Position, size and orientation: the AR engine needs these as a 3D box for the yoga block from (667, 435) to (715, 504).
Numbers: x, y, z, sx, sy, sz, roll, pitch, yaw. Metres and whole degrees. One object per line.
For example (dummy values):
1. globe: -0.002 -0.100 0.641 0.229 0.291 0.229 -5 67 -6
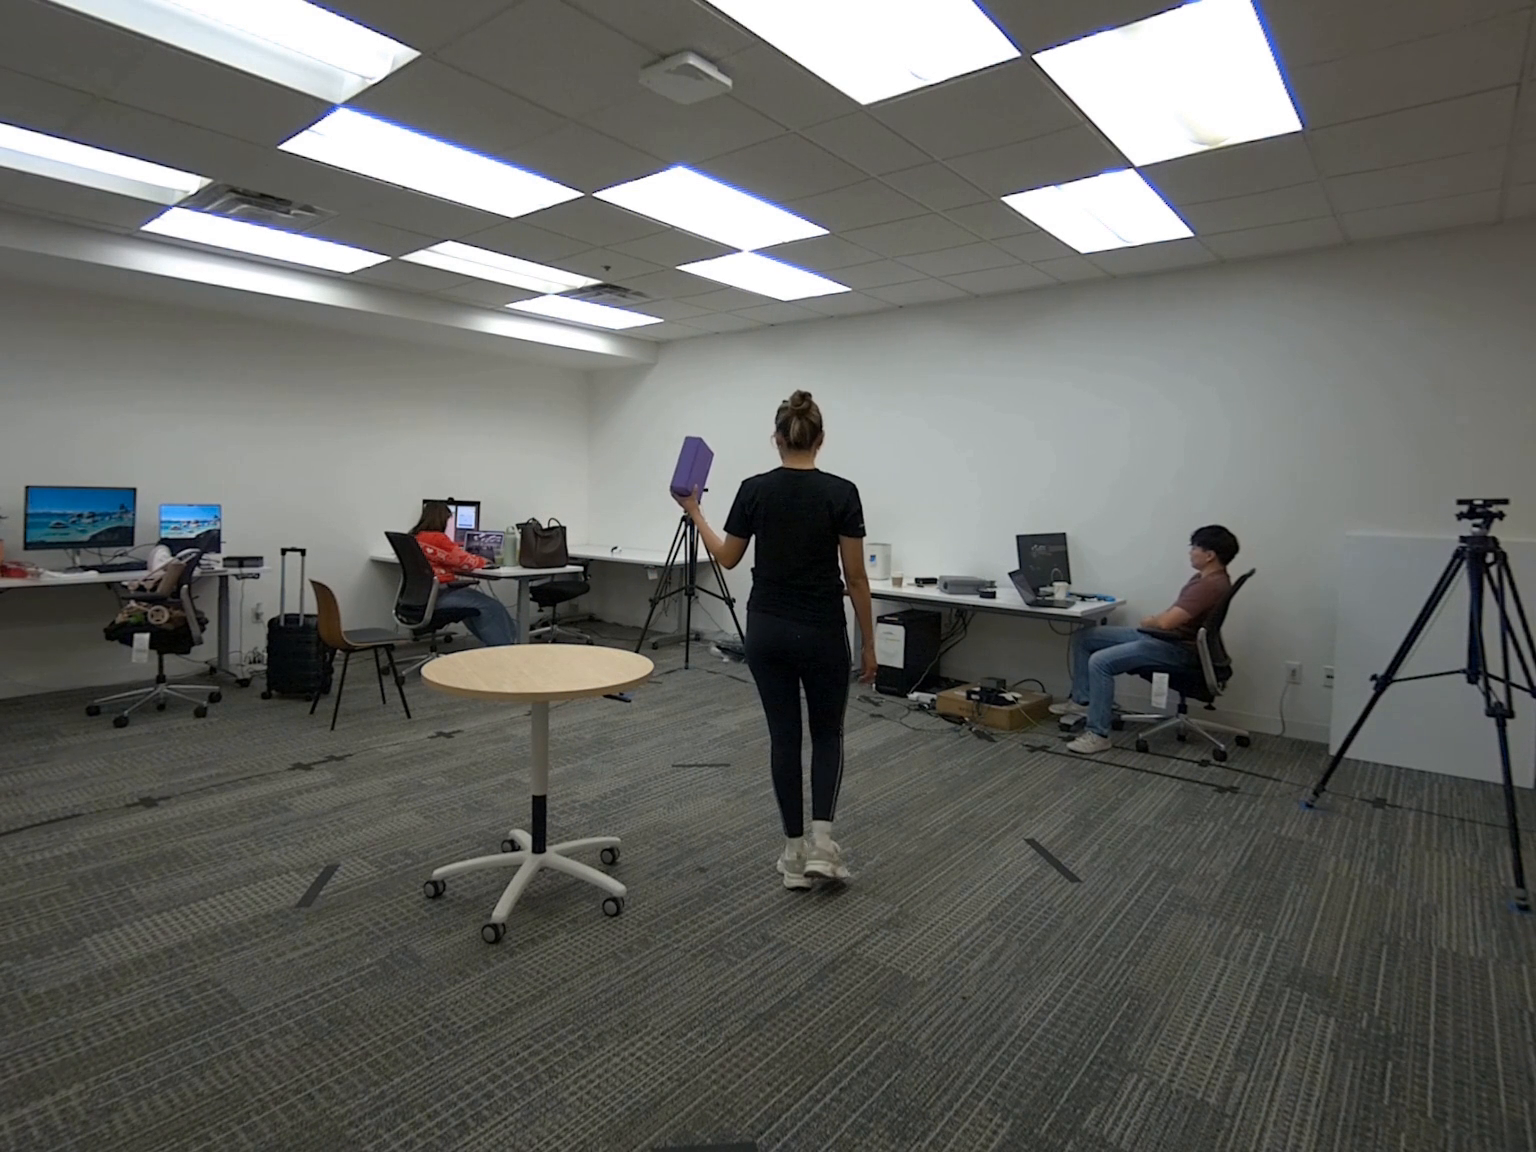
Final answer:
1. yoga block: -0.303 -0.418 3.321 0.078 0.232 0.144 7 -18 21
